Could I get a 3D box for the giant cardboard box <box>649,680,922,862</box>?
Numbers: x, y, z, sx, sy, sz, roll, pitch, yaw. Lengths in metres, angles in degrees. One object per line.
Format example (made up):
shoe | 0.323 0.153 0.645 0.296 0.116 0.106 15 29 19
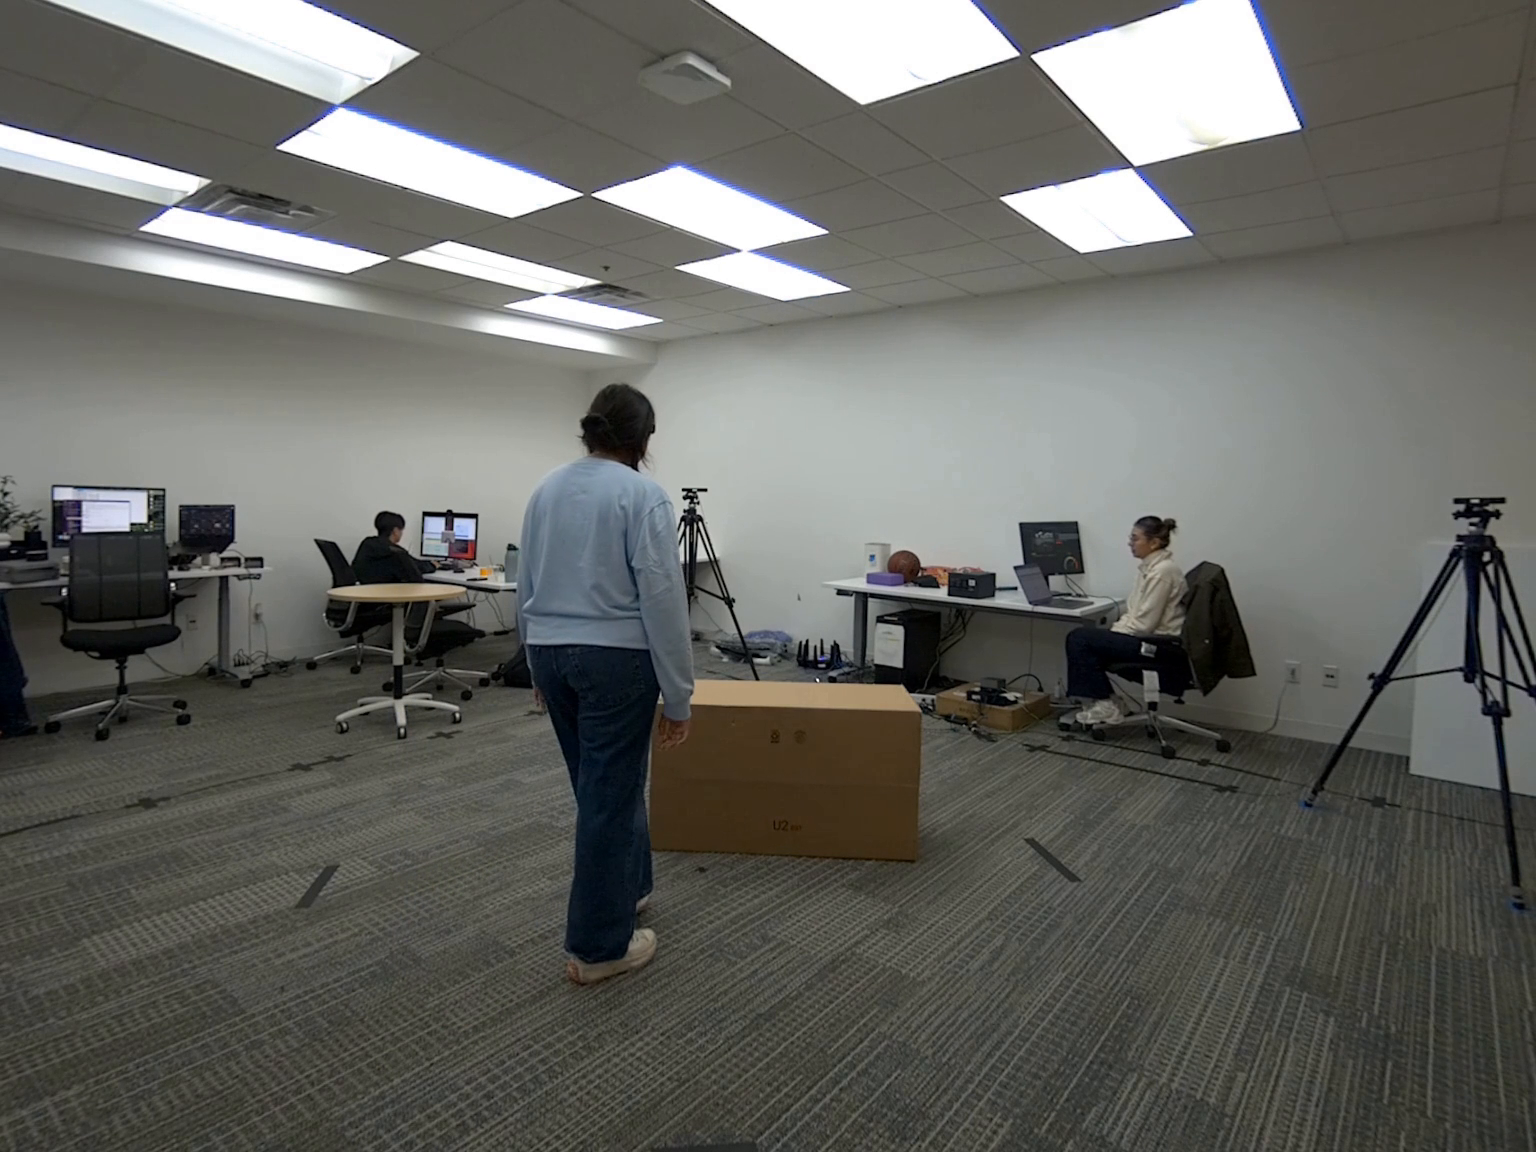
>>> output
giant cardboard box | 0.057 0.751 3.431 1.030 0.576 0.426 1 3 3
